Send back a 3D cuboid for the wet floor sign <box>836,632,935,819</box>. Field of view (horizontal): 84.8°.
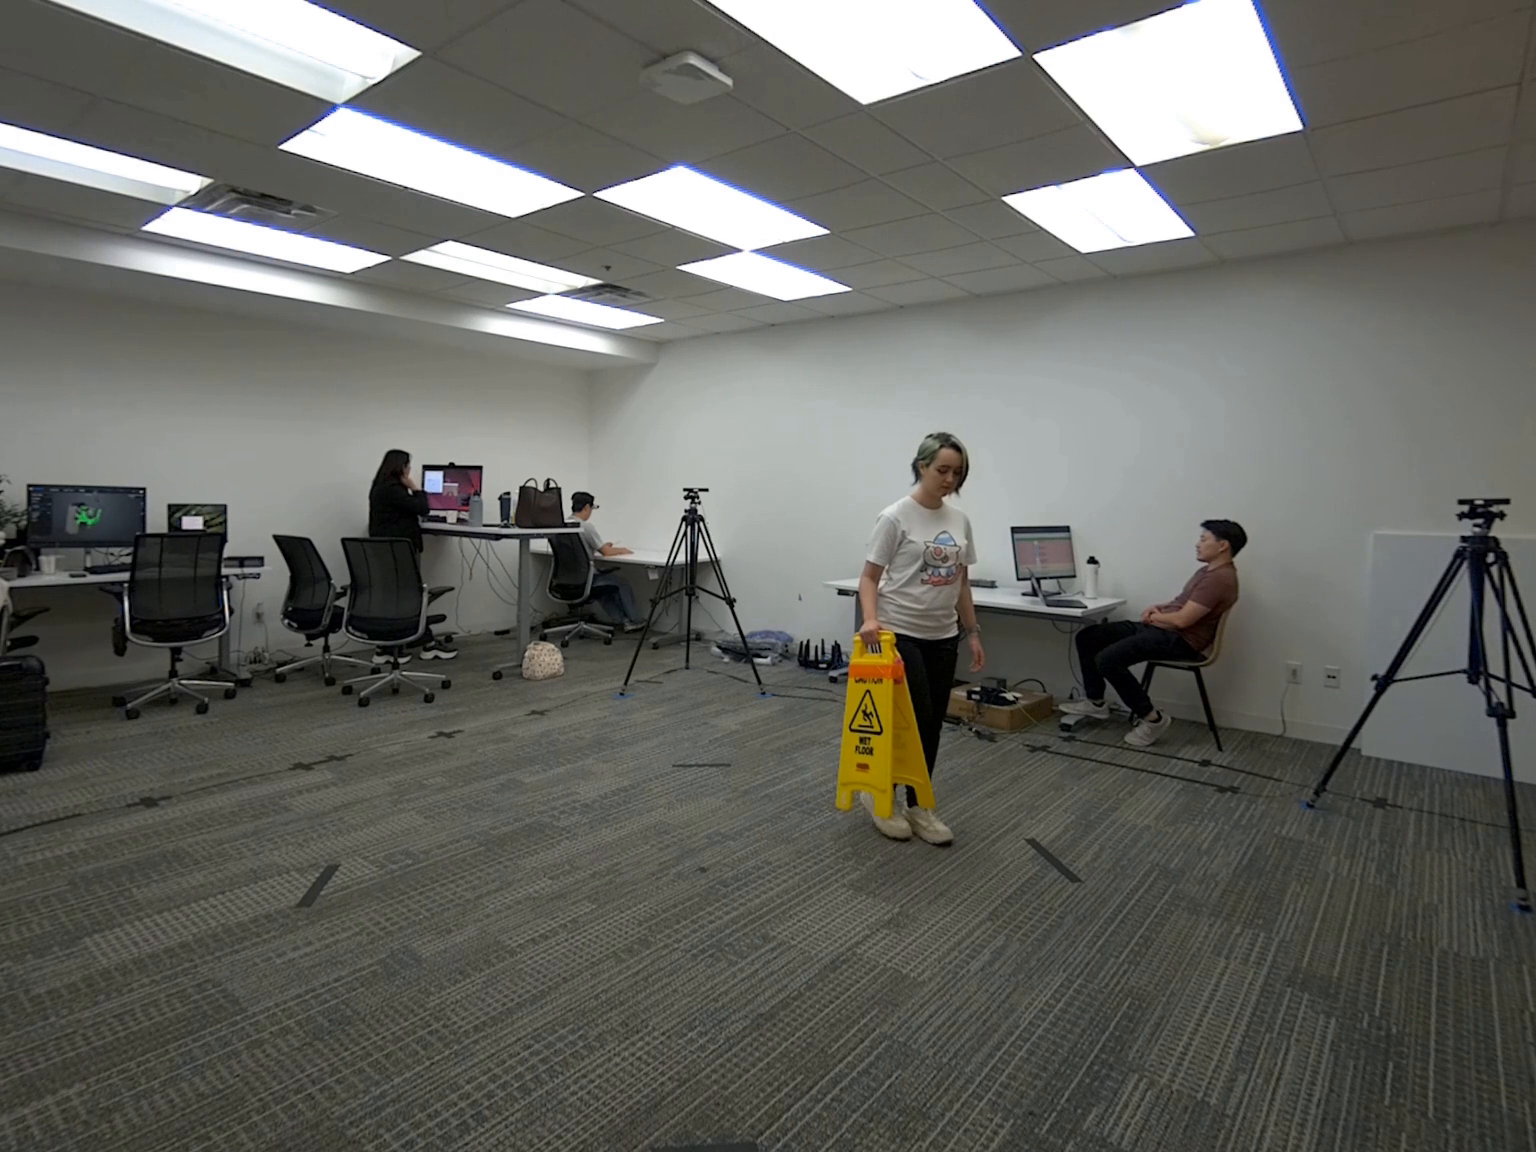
[{"bbox_3d":[0.407,0.534,3.197,0.281,0.650,0.289,0,-7,-37],"label":"wet floor sign"}]
